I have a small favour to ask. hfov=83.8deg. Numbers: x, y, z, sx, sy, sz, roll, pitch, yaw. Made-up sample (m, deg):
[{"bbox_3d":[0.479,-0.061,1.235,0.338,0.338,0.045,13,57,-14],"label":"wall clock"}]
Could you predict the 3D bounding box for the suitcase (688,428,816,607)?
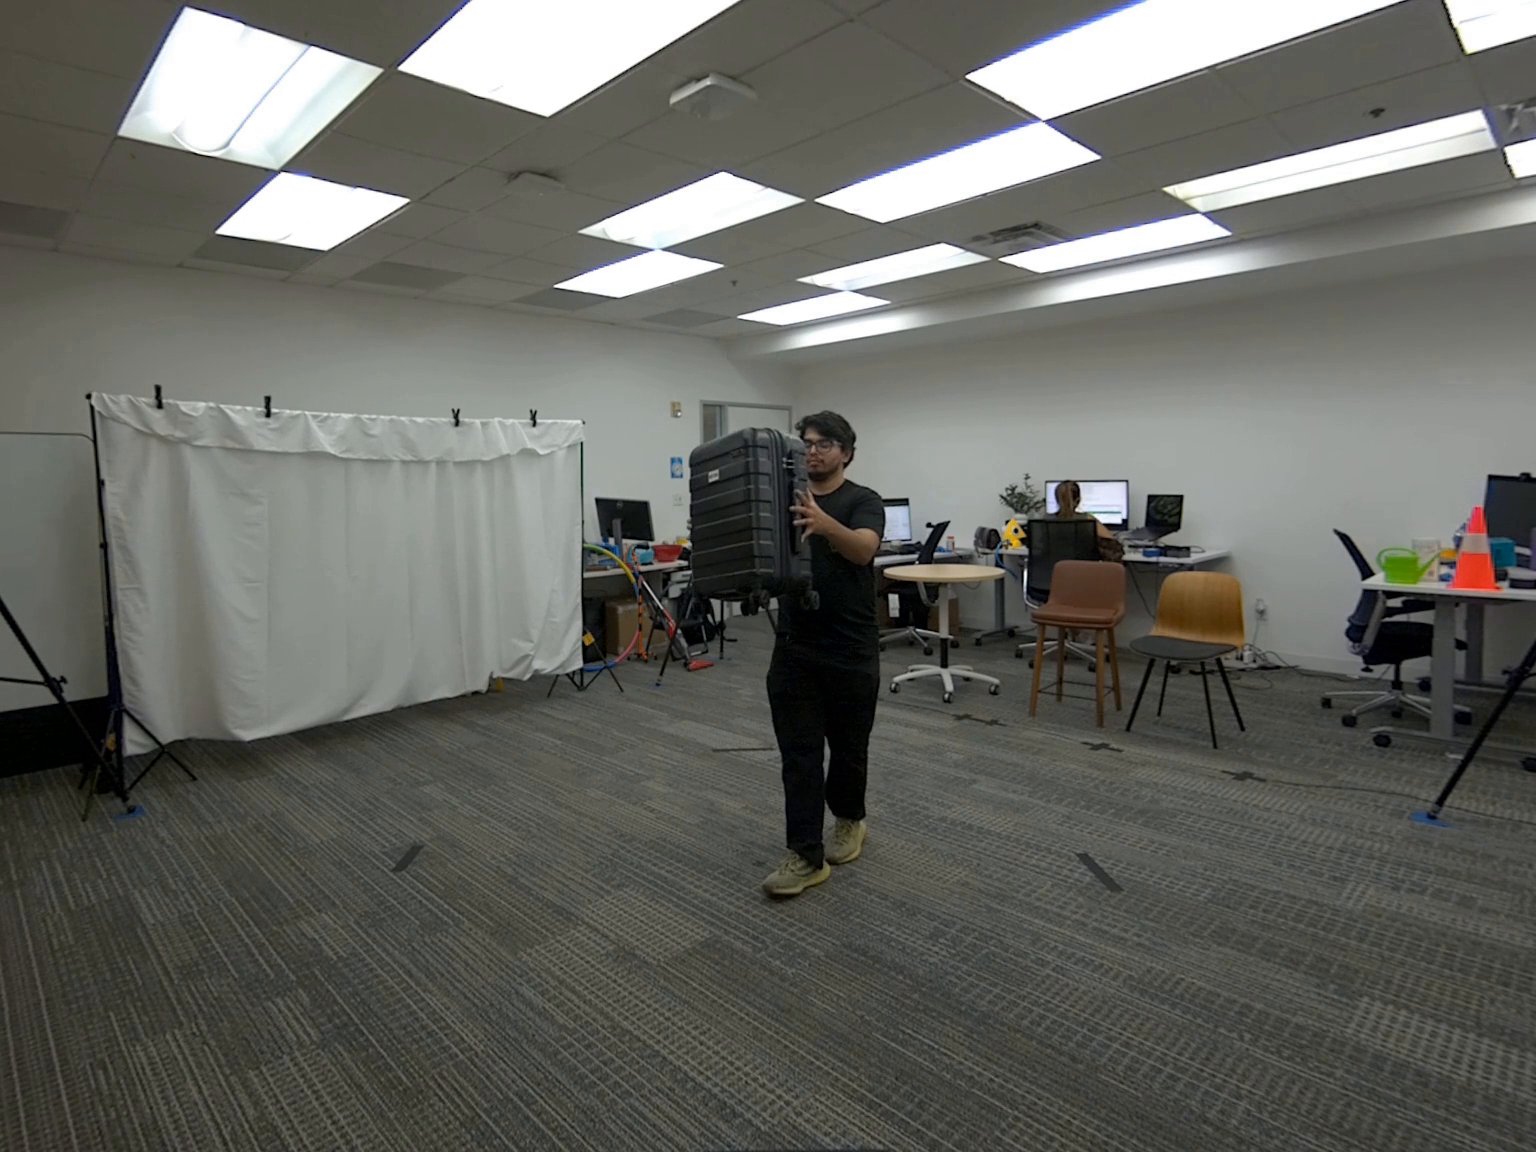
[{"bbox_3d":[-0.057,-0.172,2.616,0.241,0.553,0.384,4,-9,-38],"label":"suitcase"}]
